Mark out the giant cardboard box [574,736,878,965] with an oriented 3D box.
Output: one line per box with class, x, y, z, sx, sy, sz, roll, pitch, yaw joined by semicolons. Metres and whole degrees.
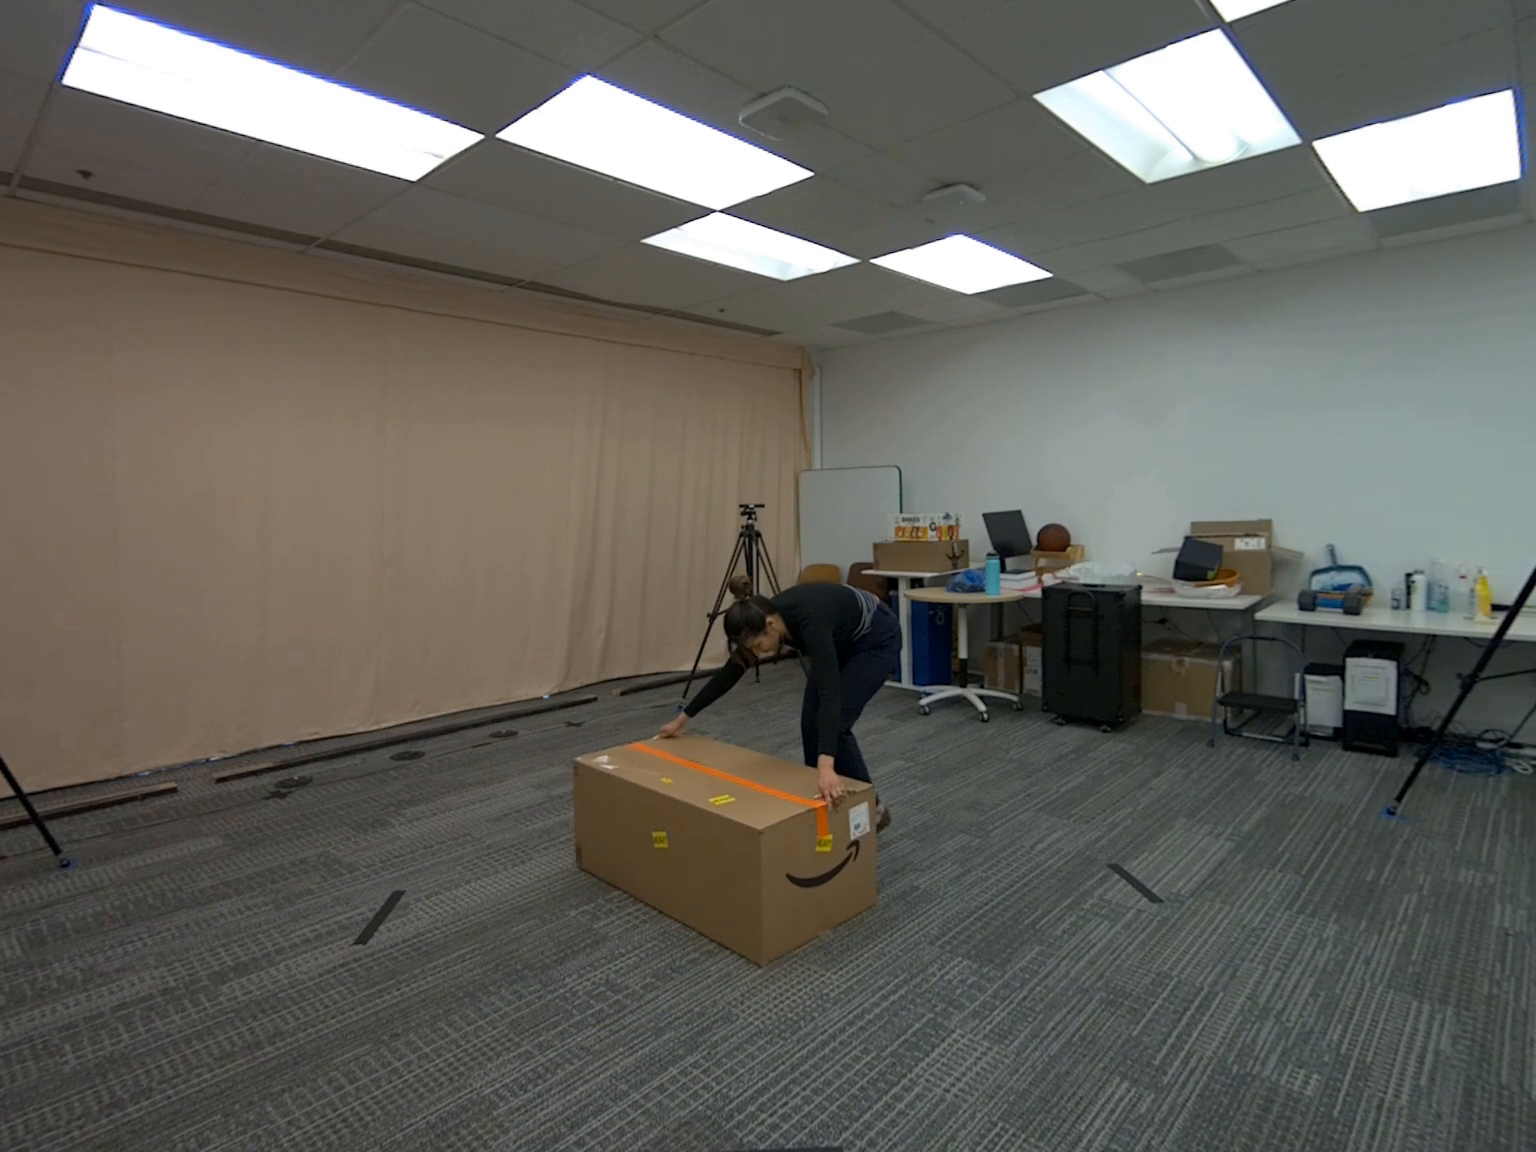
giant cardboard box;-0.193;0.921;3.084;0.560;0.425;1.060;-5;6;-44
